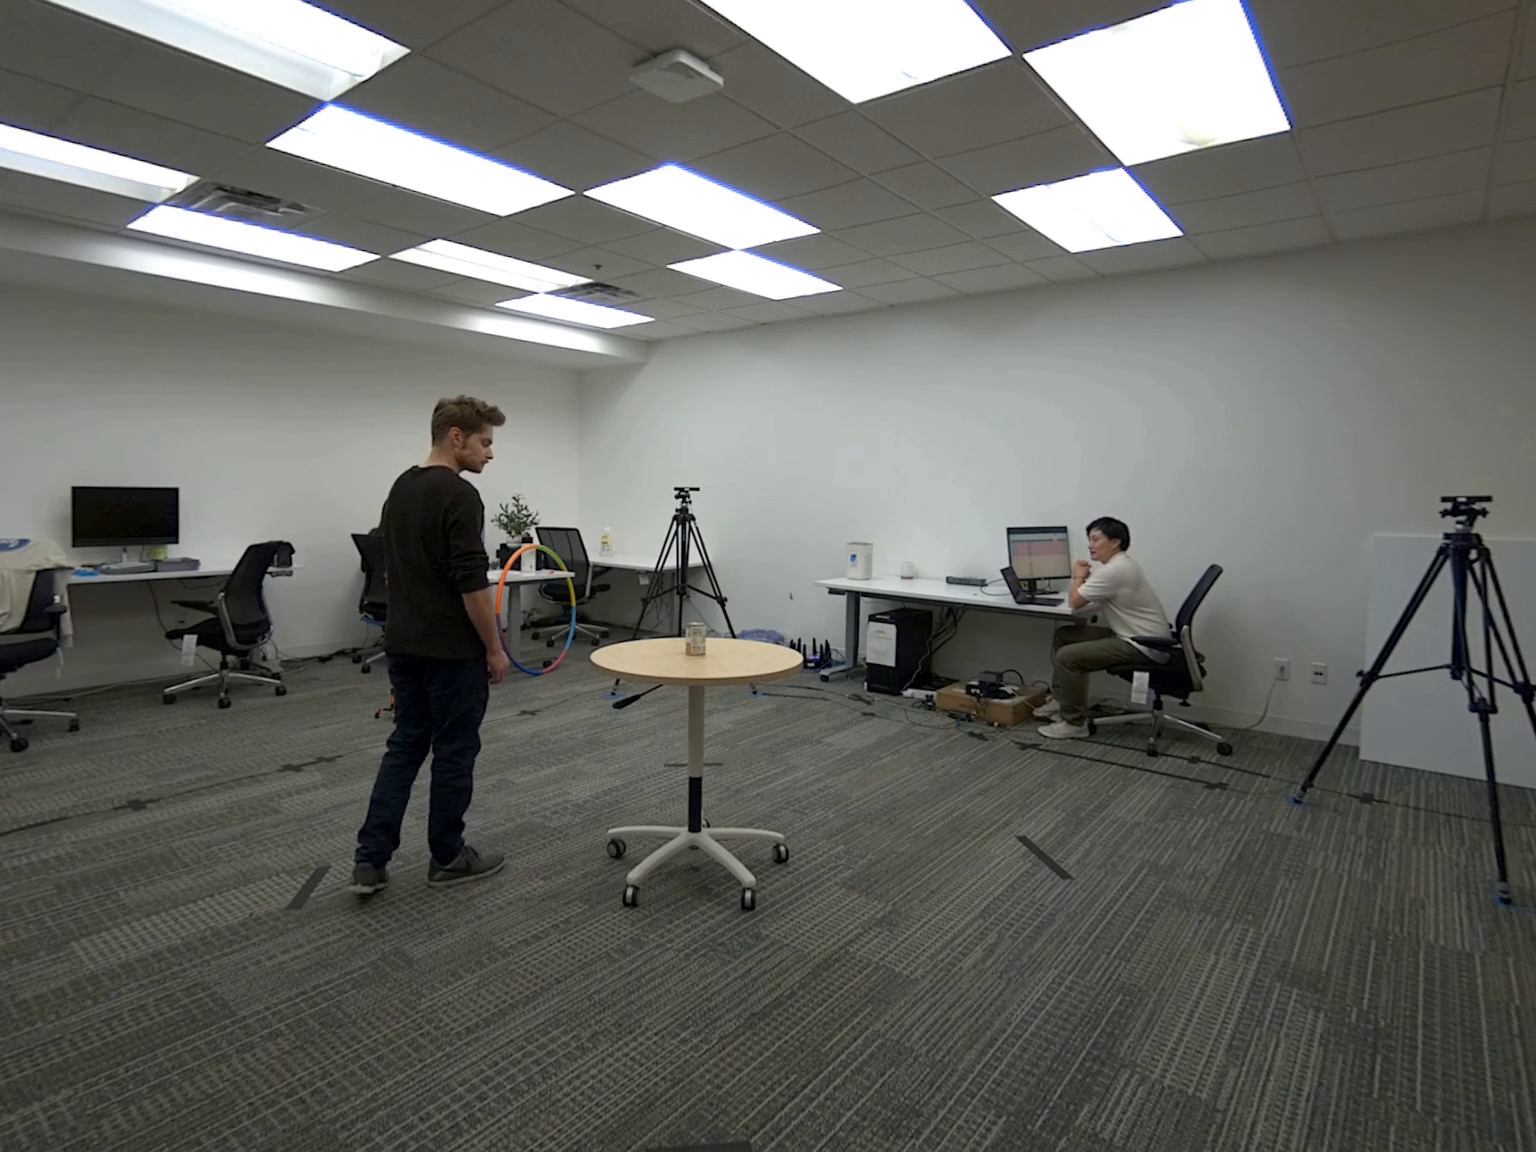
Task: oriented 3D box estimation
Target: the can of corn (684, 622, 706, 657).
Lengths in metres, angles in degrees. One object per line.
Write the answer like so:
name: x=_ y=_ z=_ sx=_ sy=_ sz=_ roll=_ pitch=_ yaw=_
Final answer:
can of corn: x=-0.276 y=0.231 z=3.092 sx=0.074 sy=0.111 sz=0.074 roll=-2 pitch=4 yaw=-2
